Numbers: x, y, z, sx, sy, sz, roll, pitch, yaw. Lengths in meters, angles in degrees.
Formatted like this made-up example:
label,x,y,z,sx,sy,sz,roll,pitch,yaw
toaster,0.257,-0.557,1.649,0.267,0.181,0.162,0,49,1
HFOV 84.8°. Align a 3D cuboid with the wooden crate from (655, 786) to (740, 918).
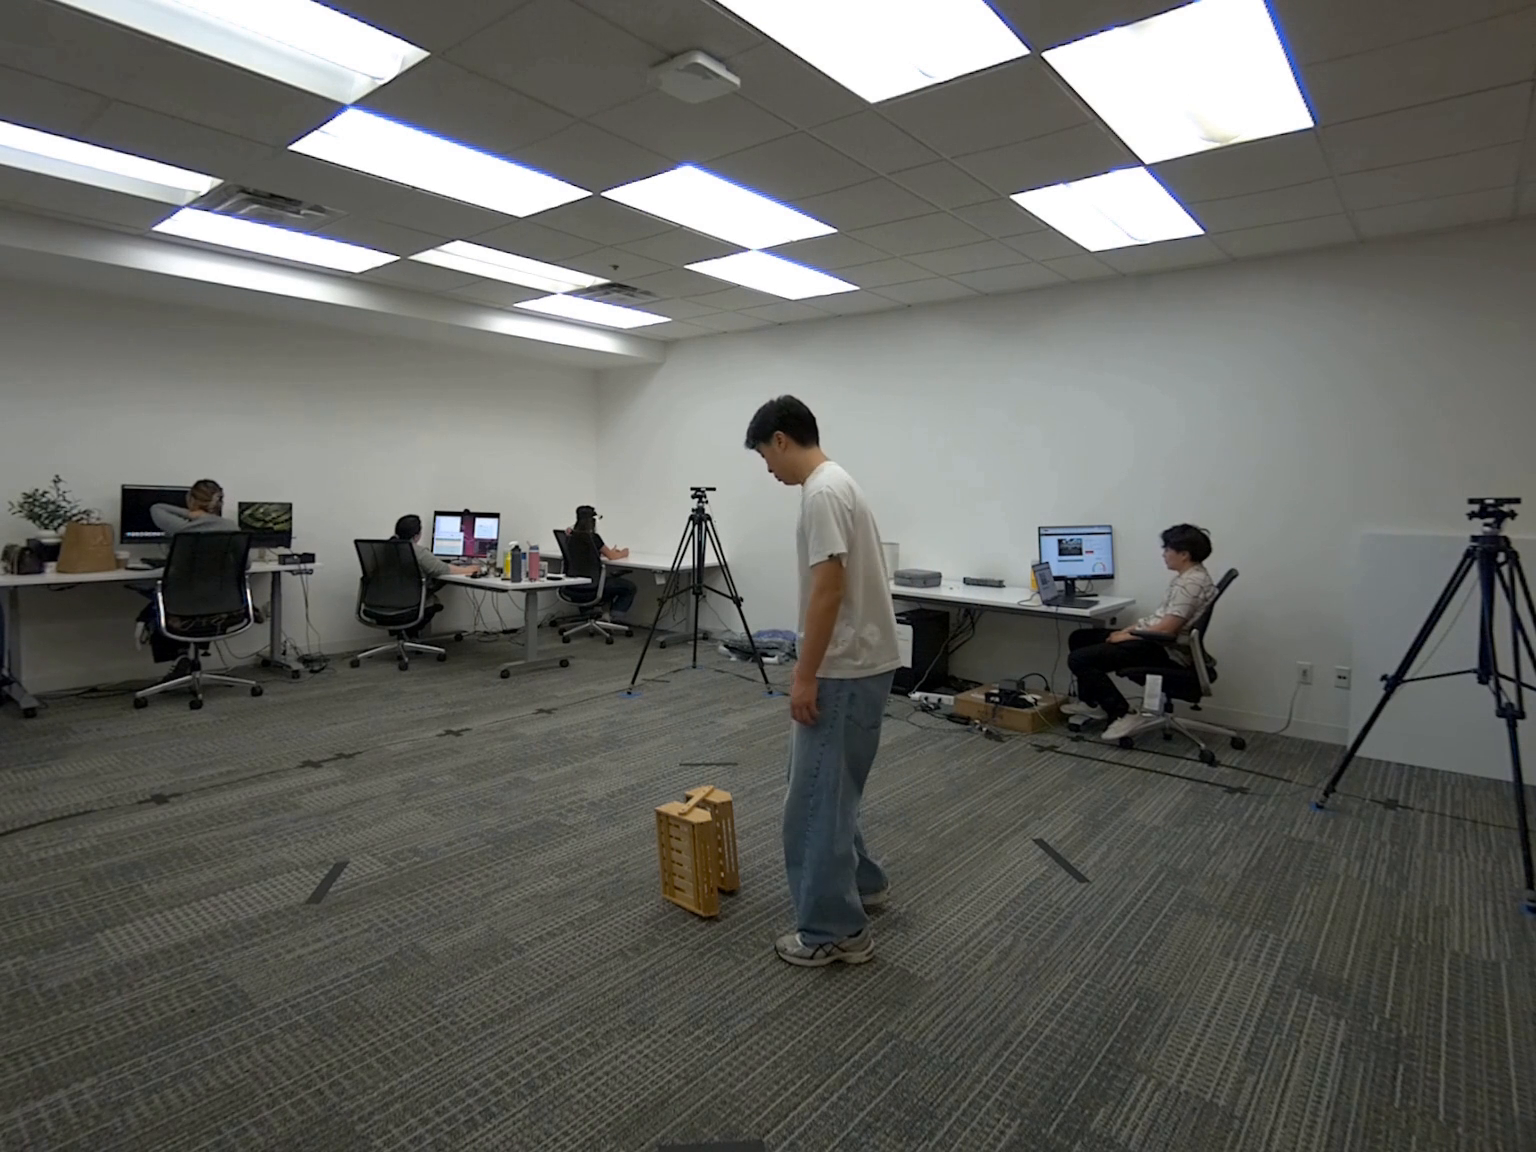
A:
label,x,y,z,sx,sy,sz,roll,pitch,yaw
wooden crate,-0.224,0.923,2.897,0.266,0.324,0.311,-7,3,-40
